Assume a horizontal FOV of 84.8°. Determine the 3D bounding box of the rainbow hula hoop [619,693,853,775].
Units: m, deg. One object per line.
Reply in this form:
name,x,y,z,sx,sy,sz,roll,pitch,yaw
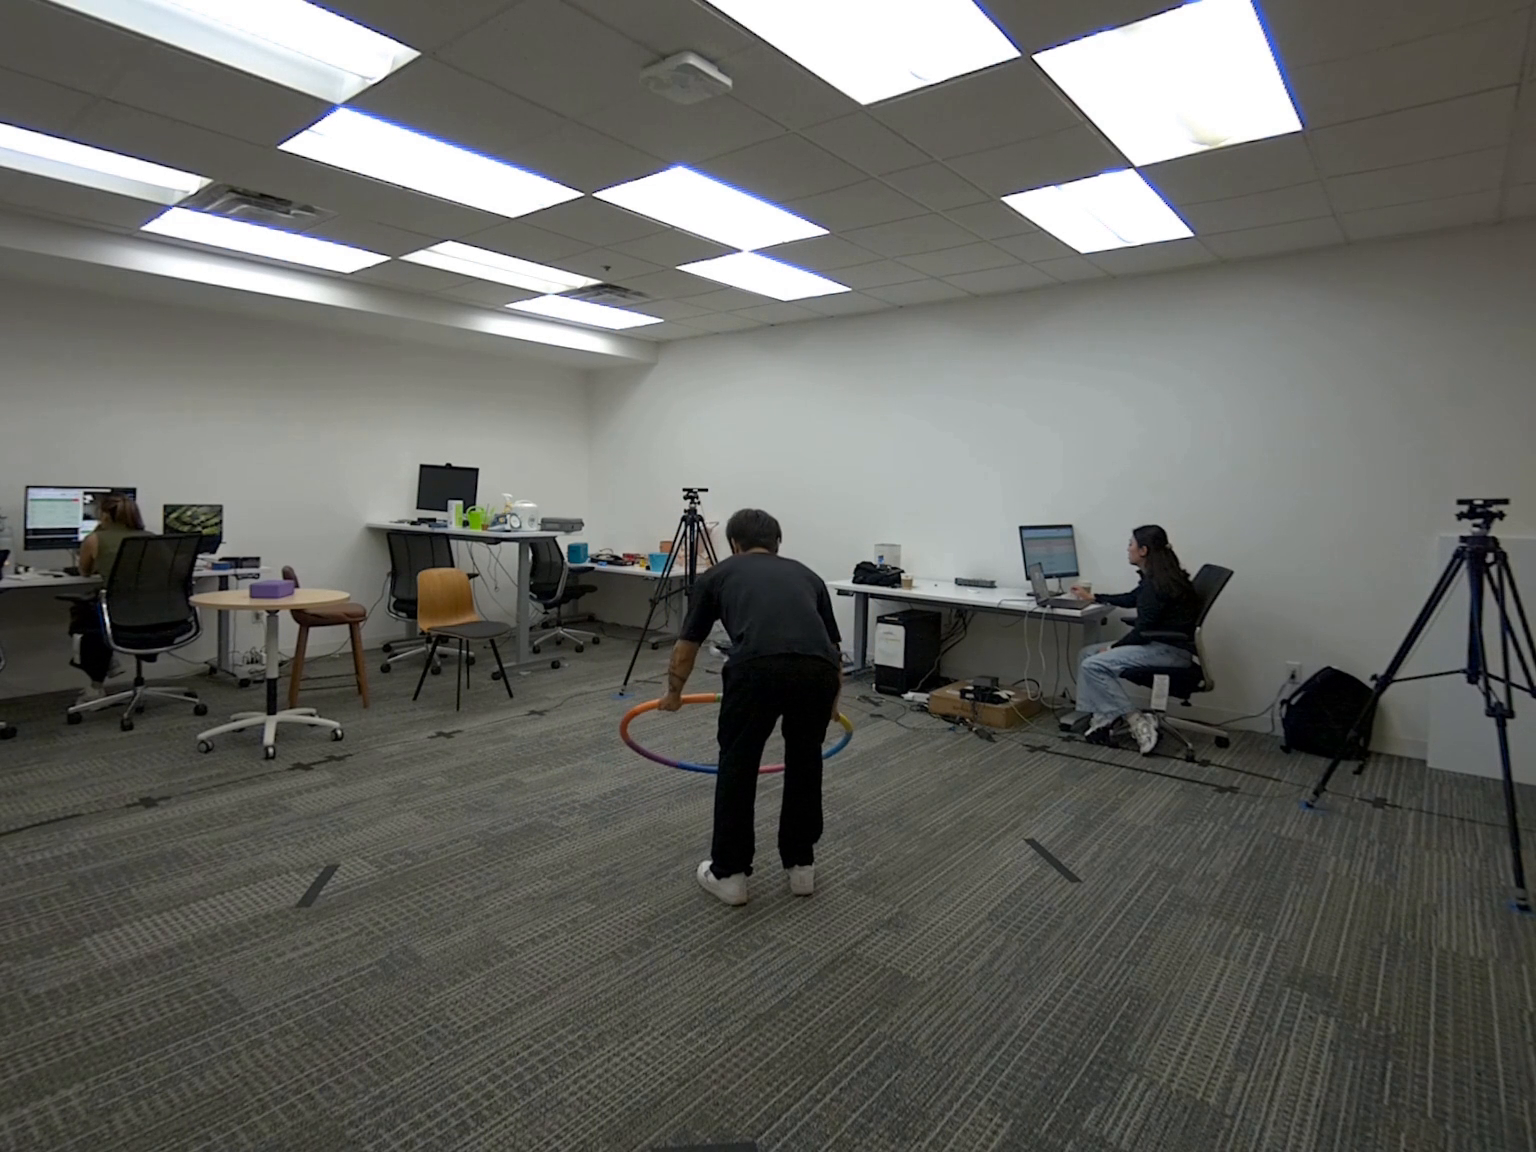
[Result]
rainbow hula hoop,-0.161,0.662,3.598,0.979,0.036,0.955,2,-30,-1
